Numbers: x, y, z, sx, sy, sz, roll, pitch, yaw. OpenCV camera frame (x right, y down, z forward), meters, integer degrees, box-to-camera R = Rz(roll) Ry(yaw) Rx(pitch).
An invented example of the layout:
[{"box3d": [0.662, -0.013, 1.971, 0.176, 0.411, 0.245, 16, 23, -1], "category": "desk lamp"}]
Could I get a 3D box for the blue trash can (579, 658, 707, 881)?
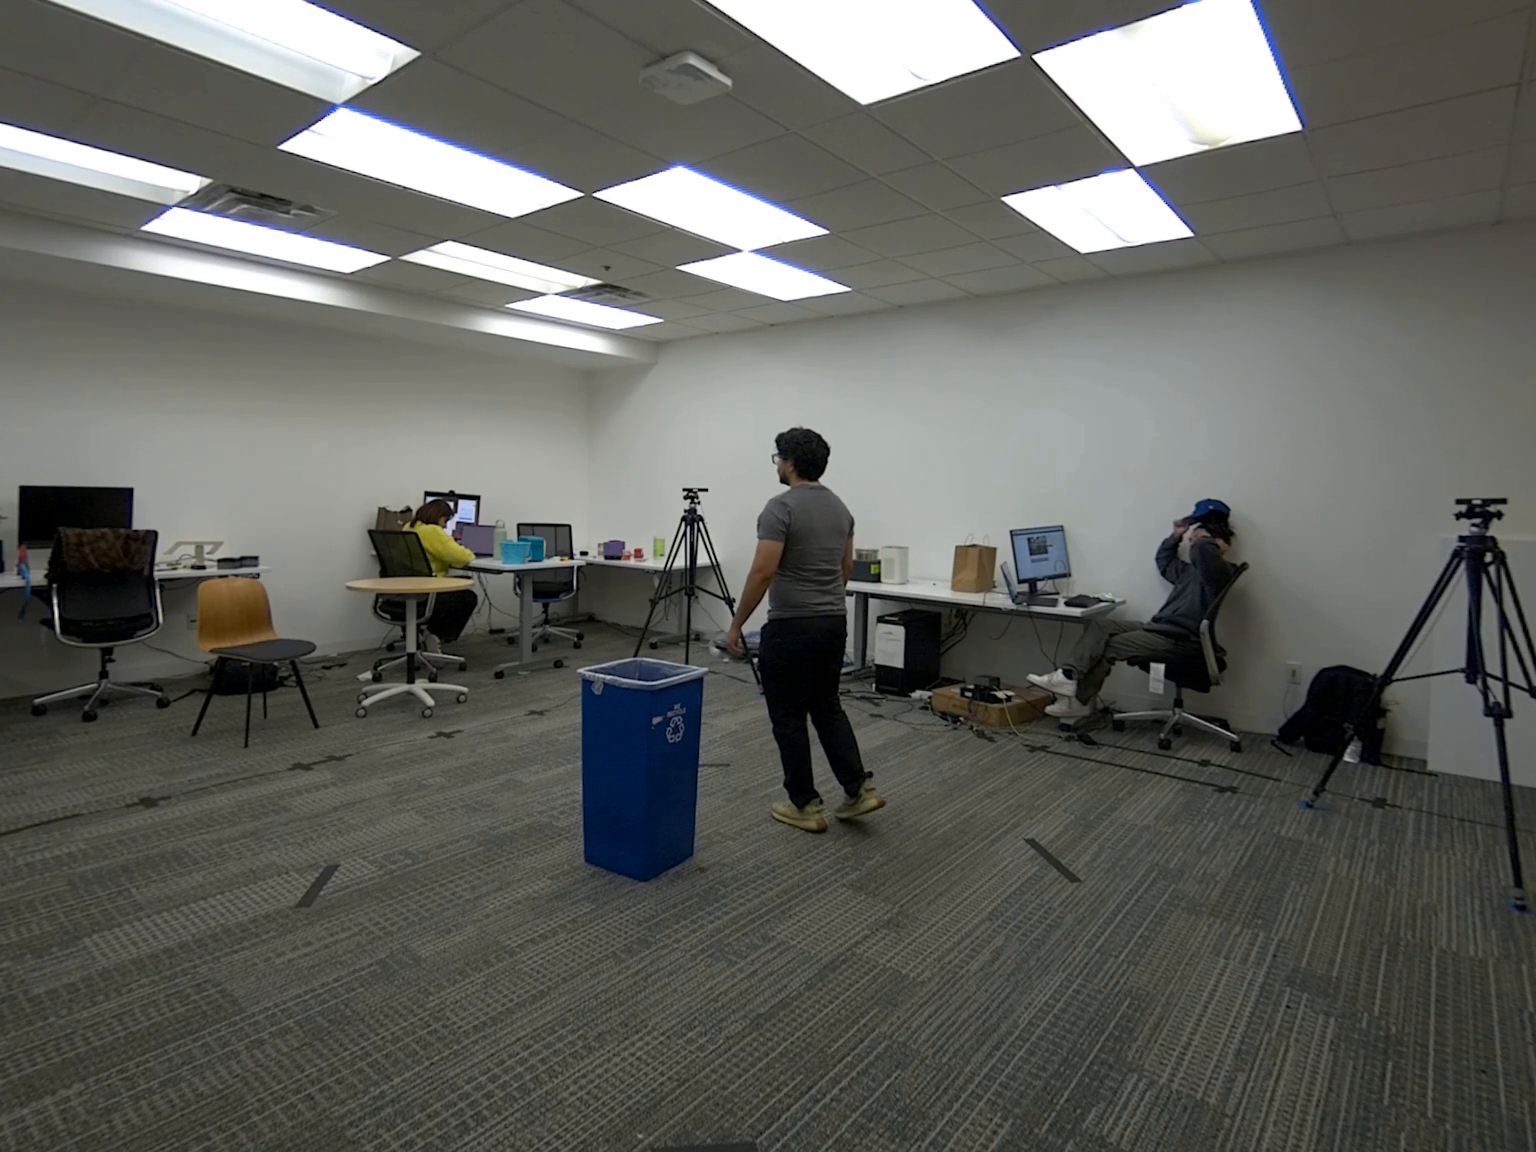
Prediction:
[{"box3d": [-0.485, 0.699, 3.189, 0.390, 0.712, 0.364, 3, 4, 33], "category": "blue trash can"}]
